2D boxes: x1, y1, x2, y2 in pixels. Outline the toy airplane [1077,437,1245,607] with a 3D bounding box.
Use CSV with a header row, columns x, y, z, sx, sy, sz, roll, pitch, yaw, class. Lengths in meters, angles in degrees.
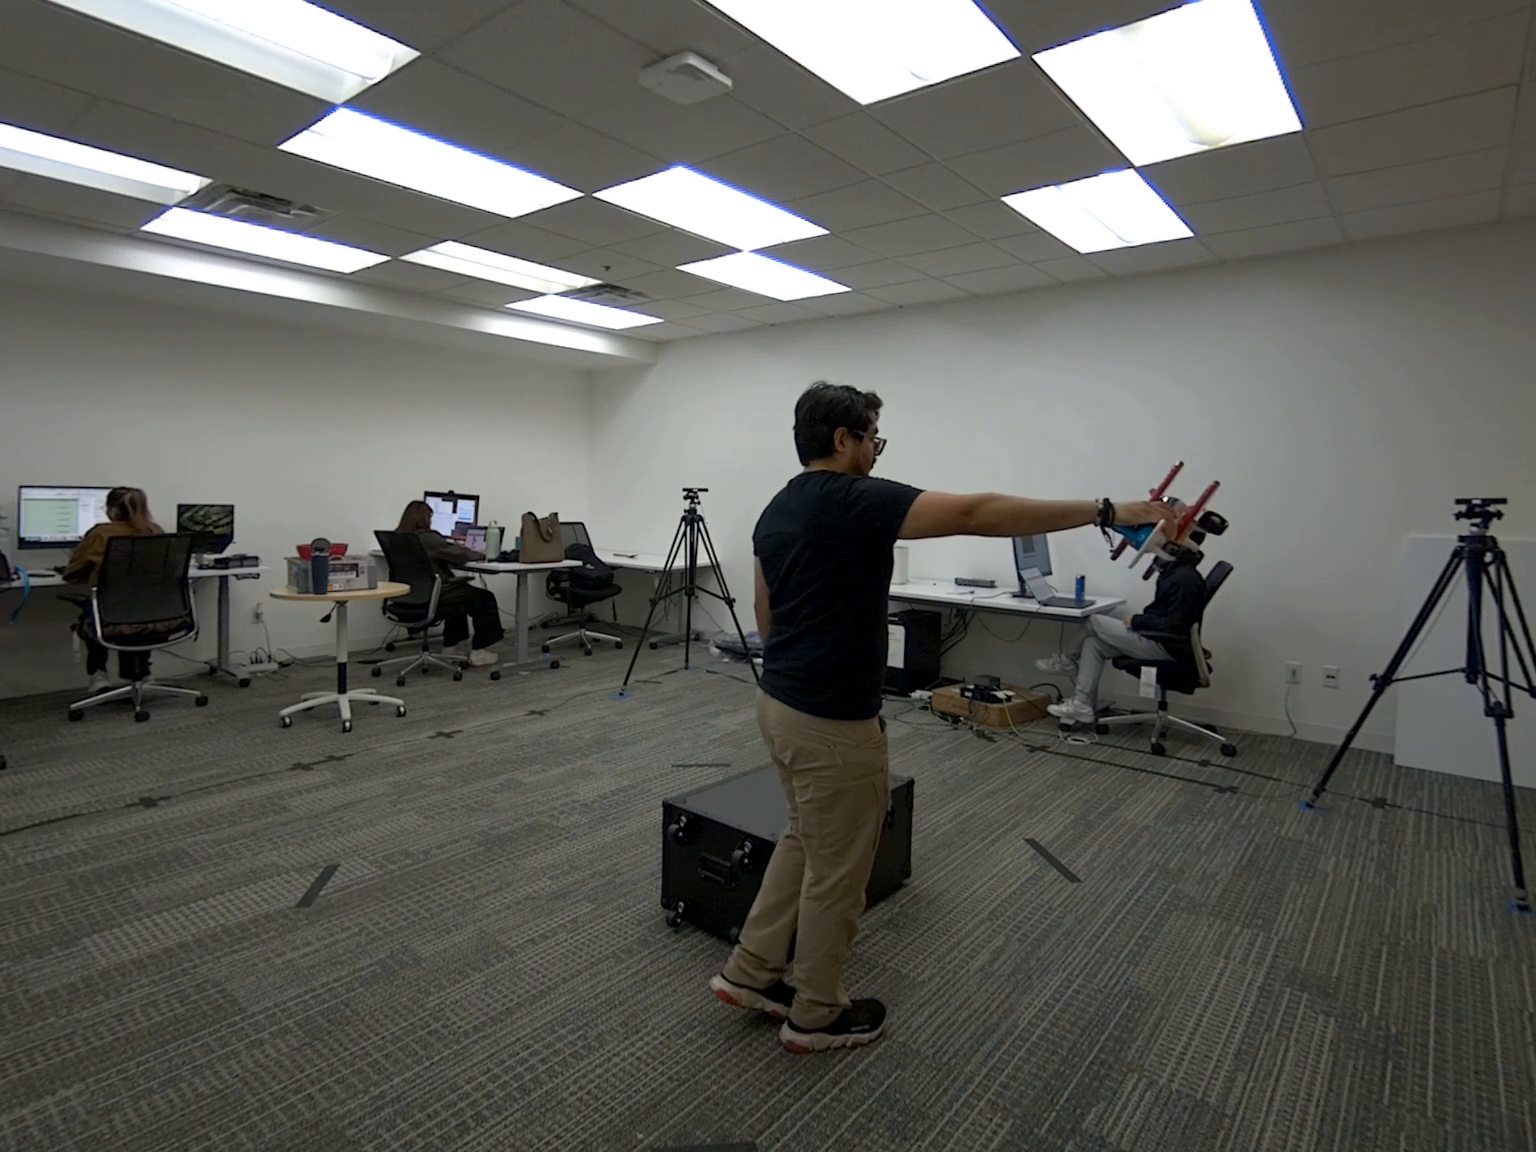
x,y,z,sx,sy,sz,roll,pitch,yaw,class
0.827,-0.107,1.765,0.163,0.251,0.249,47,12,33,toy airplane
